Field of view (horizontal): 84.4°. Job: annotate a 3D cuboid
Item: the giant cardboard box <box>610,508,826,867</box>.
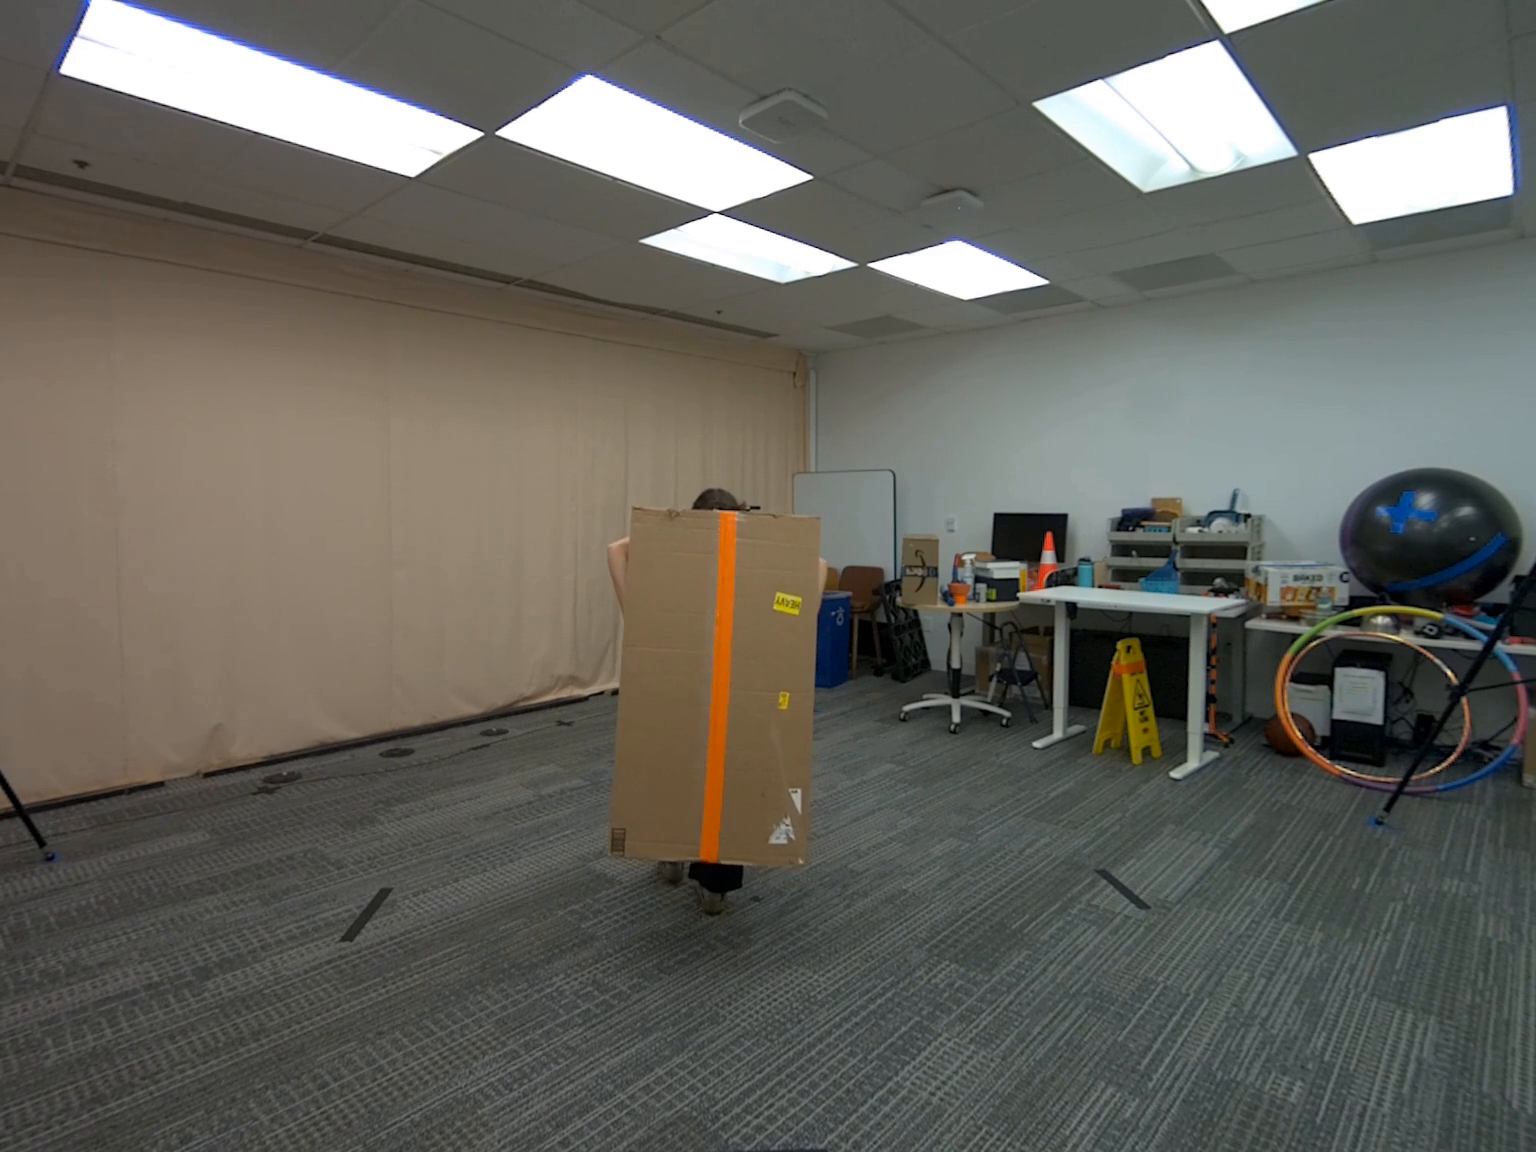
[{"bbox_3d":[-0.171,0.337,2.670,0.577,1.029,0.425,2,-6,-2],"label":"giant cardboard box"}]
